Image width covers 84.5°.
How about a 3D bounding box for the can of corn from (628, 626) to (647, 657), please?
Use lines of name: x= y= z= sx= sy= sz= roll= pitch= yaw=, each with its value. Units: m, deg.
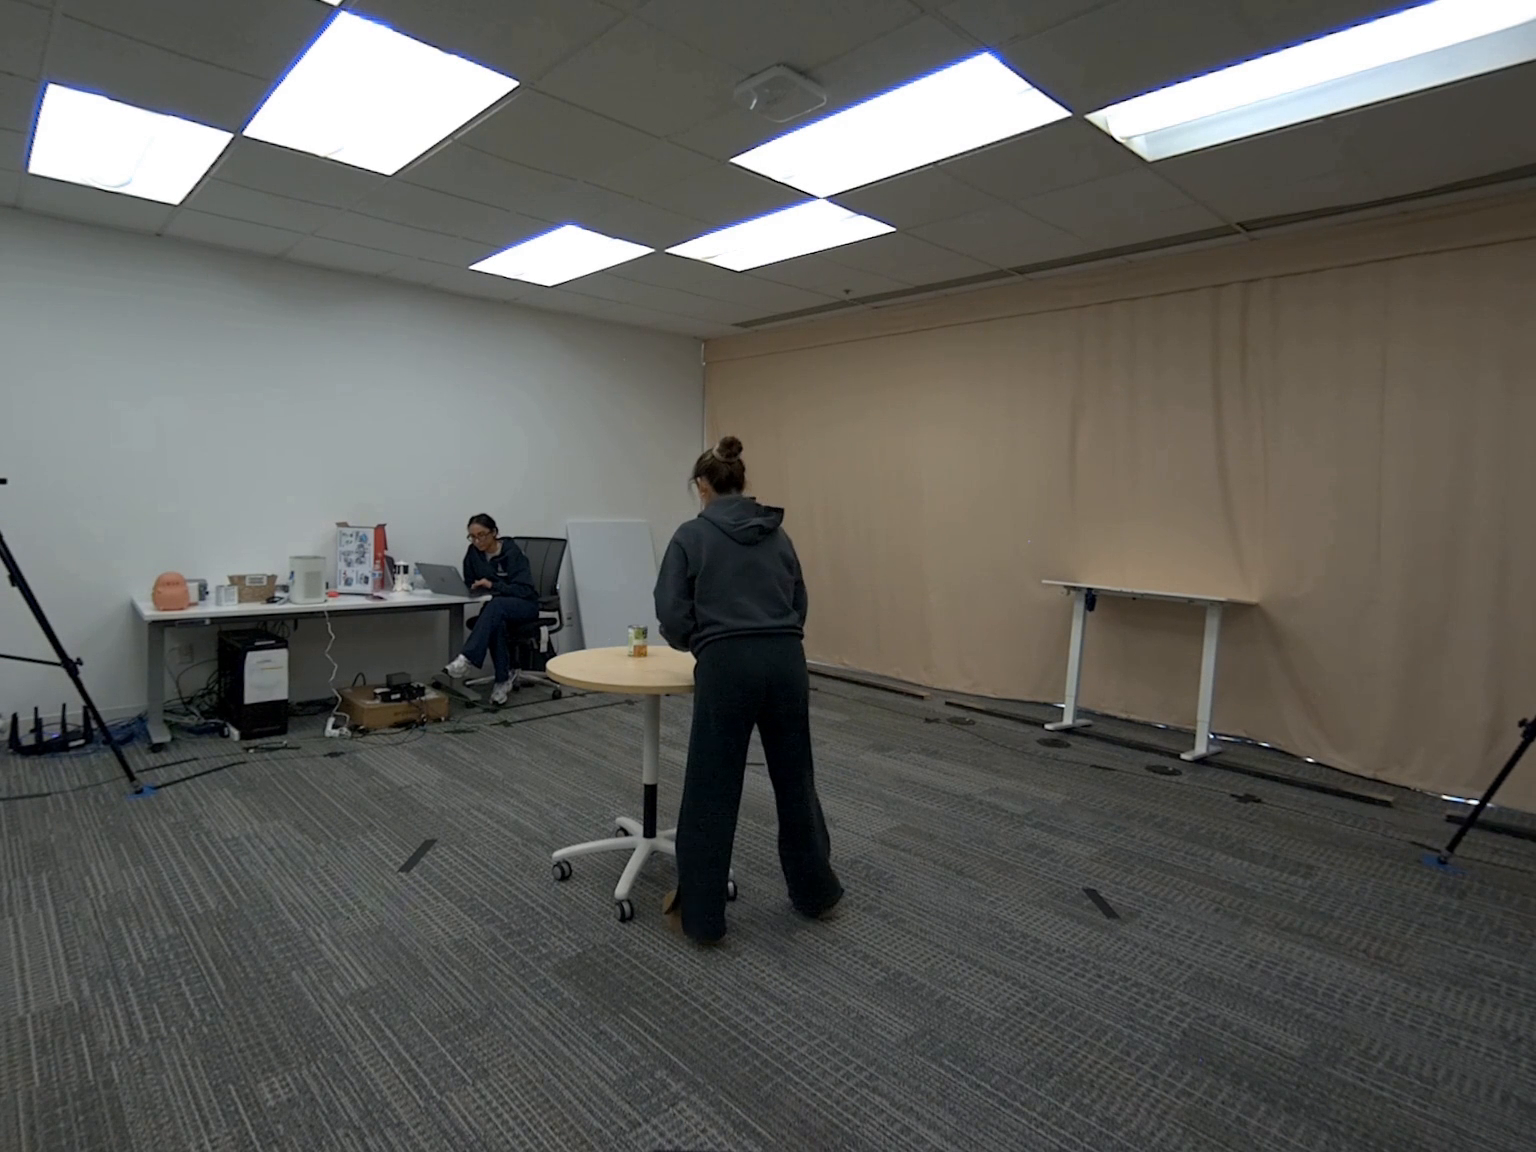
can of corn: x=-0.508 y=0.249 z=3.220 sx=0.074 sy=0.111 sz=0.074 roll=0 pitch=2 yaw=-1
